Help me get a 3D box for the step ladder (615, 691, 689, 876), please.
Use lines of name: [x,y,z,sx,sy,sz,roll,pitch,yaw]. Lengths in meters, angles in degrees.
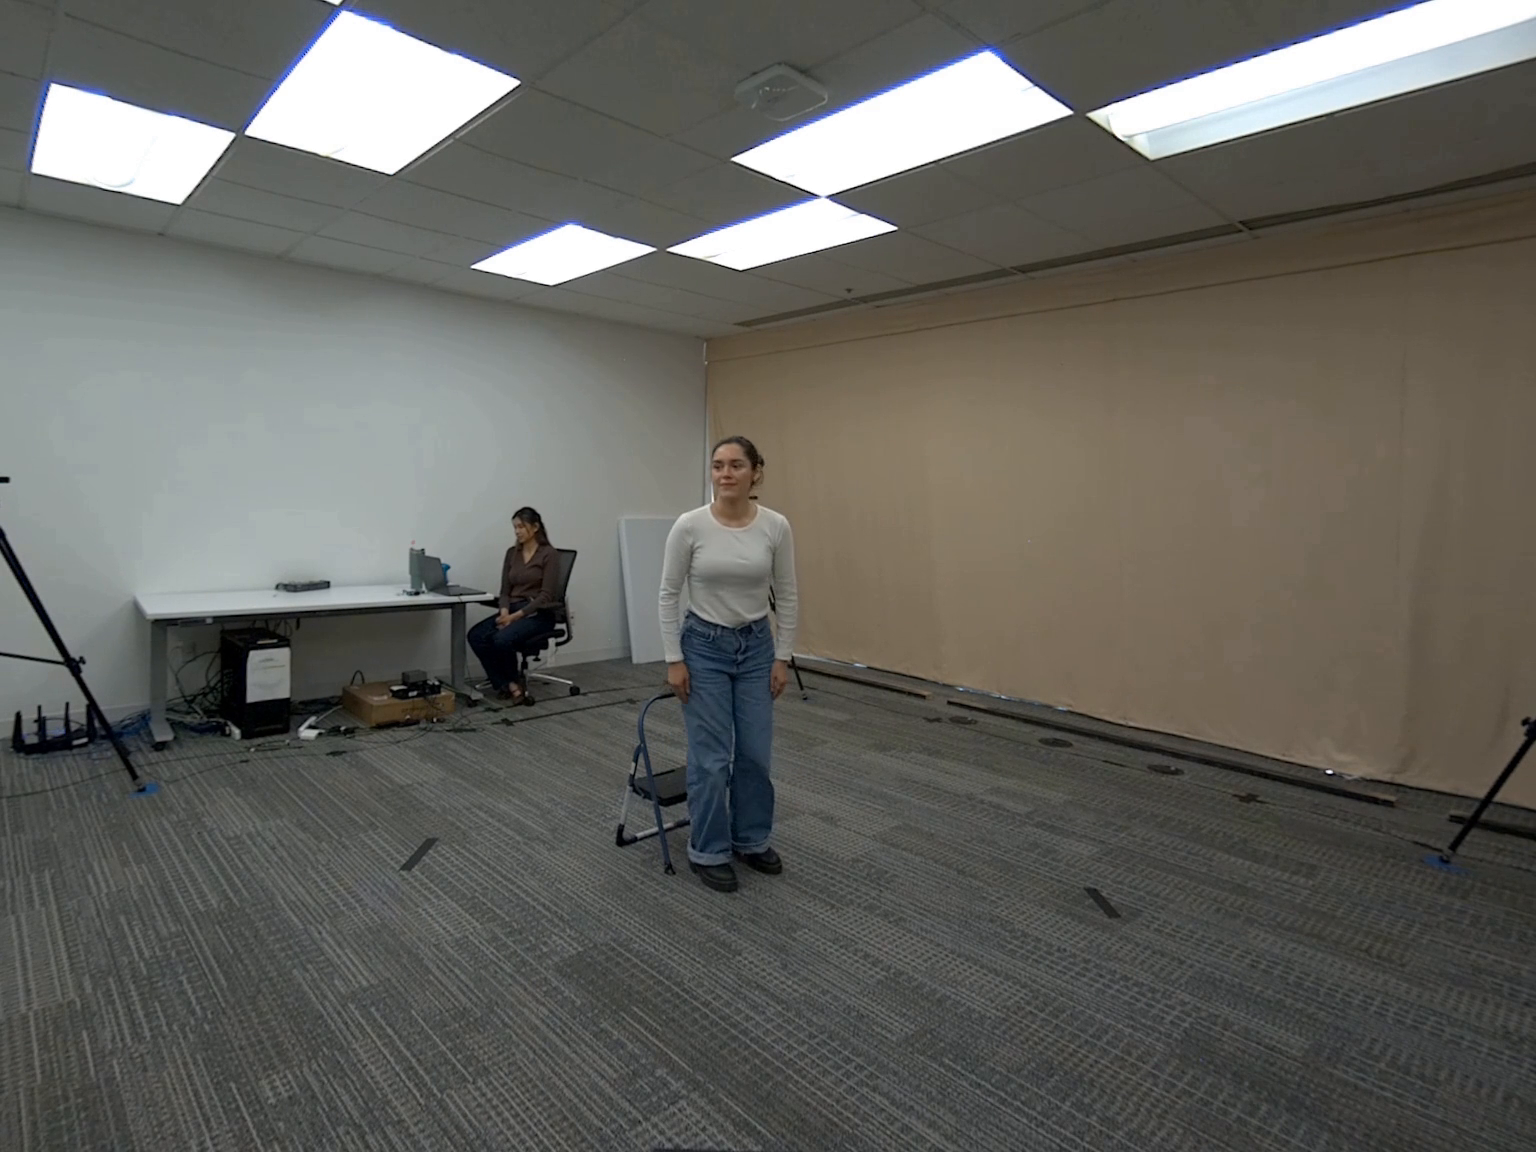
step ladder: [-0.339,0.773,3.343,0.358,0.604,0.421,6,5,44]
